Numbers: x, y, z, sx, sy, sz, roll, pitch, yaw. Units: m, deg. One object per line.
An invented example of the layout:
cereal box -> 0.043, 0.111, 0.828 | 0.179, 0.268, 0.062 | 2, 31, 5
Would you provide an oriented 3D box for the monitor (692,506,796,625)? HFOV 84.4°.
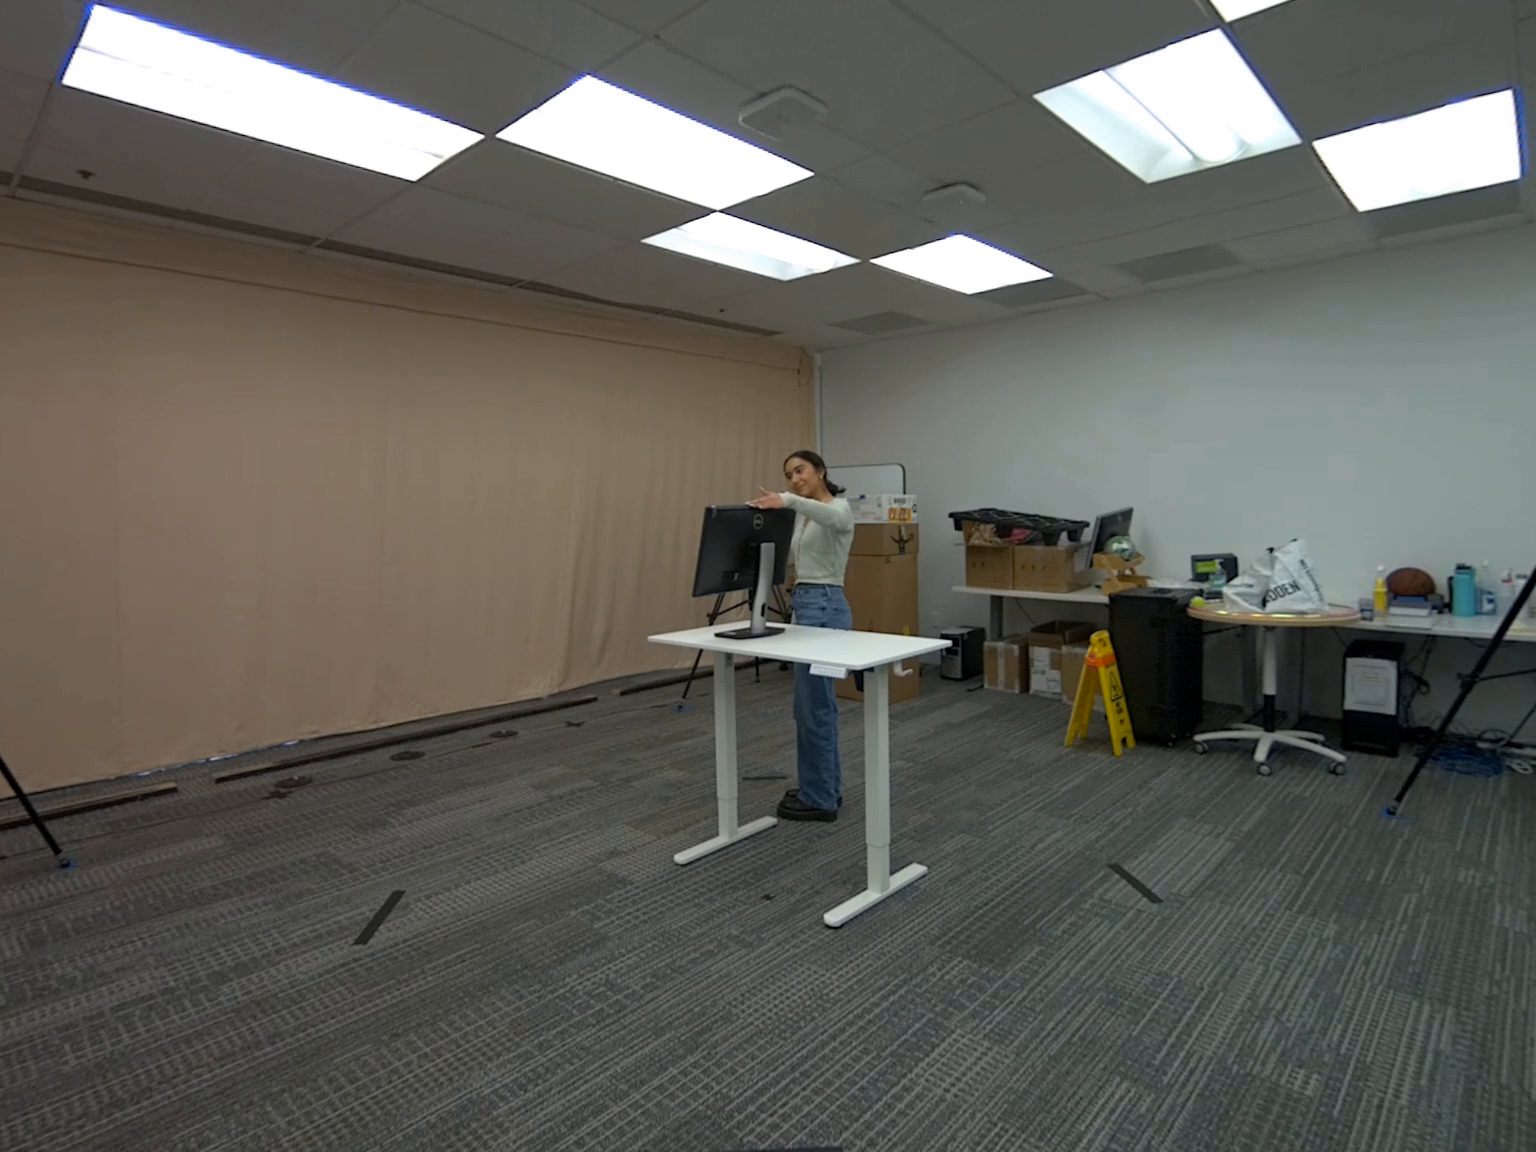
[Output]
monitor -> -0.057, -0.019, 3.305 | 0.193, 0.521, 0.523 | 4, 6, 39
